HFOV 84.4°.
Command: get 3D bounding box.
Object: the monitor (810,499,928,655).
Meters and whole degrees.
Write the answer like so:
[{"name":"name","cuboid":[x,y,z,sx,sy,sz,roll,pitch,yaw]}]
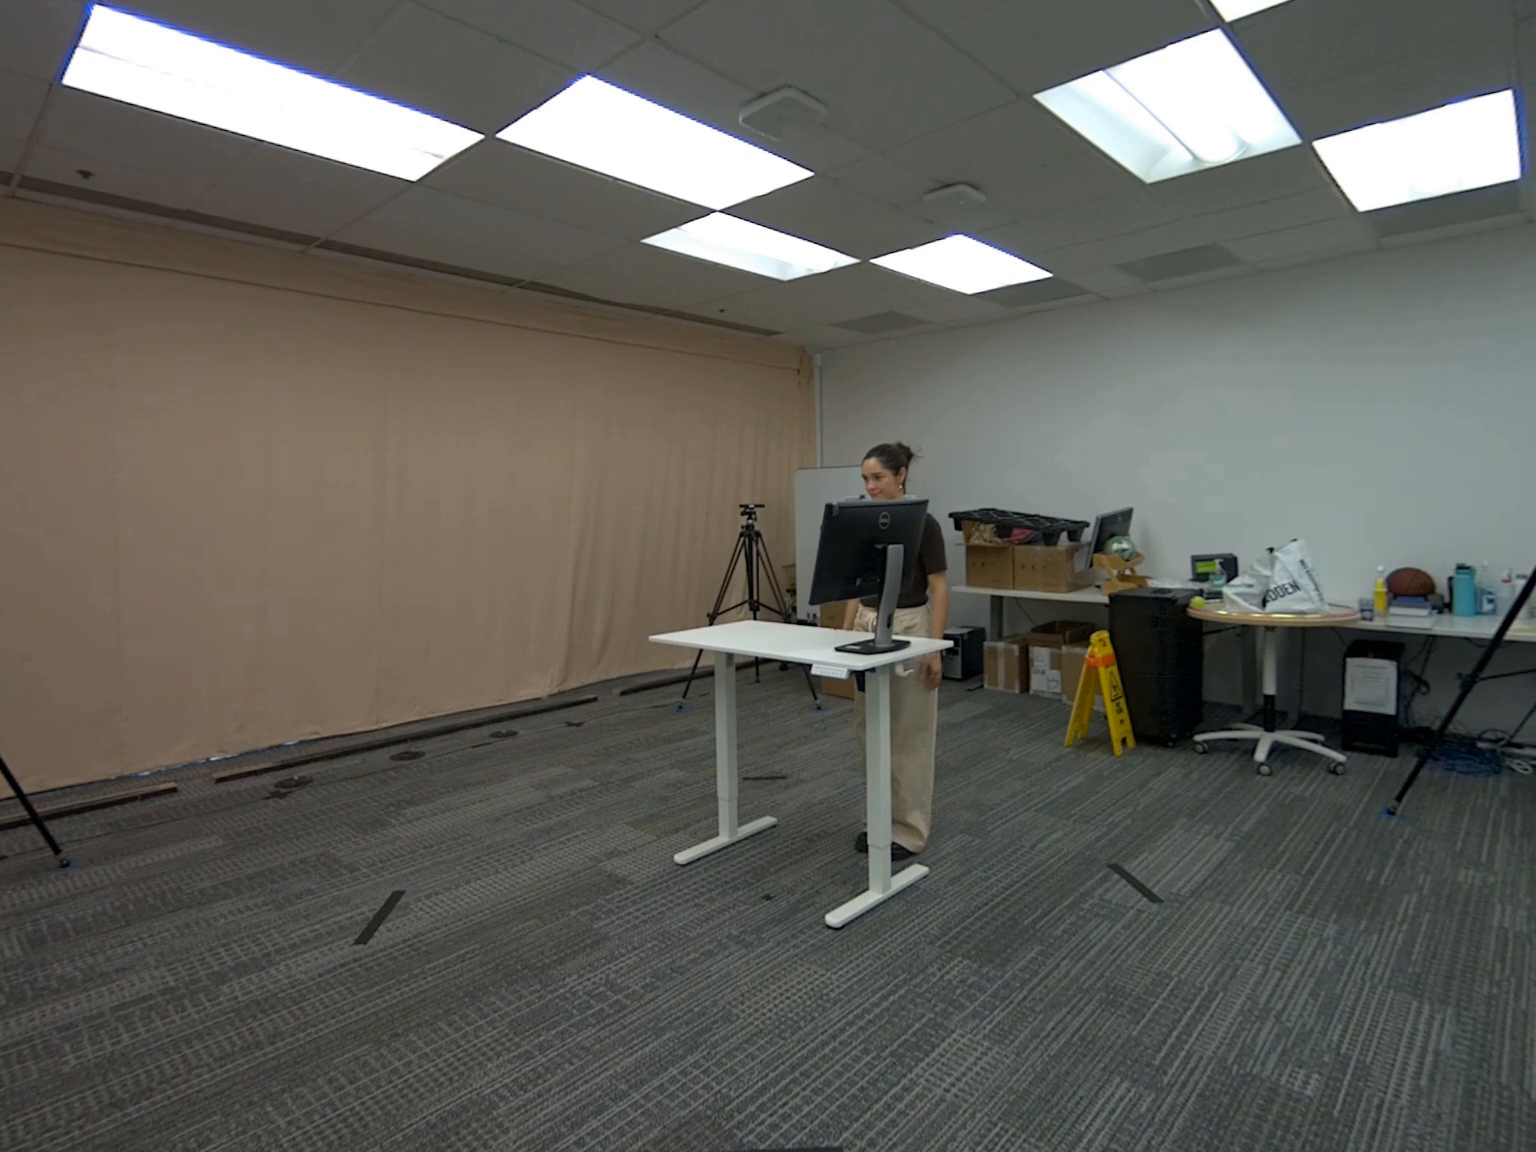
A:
[{"name":"monitor","cuboid":[0.397,0.004,2.912,0.523,0.521,0.193,-4,6,-43]}]
